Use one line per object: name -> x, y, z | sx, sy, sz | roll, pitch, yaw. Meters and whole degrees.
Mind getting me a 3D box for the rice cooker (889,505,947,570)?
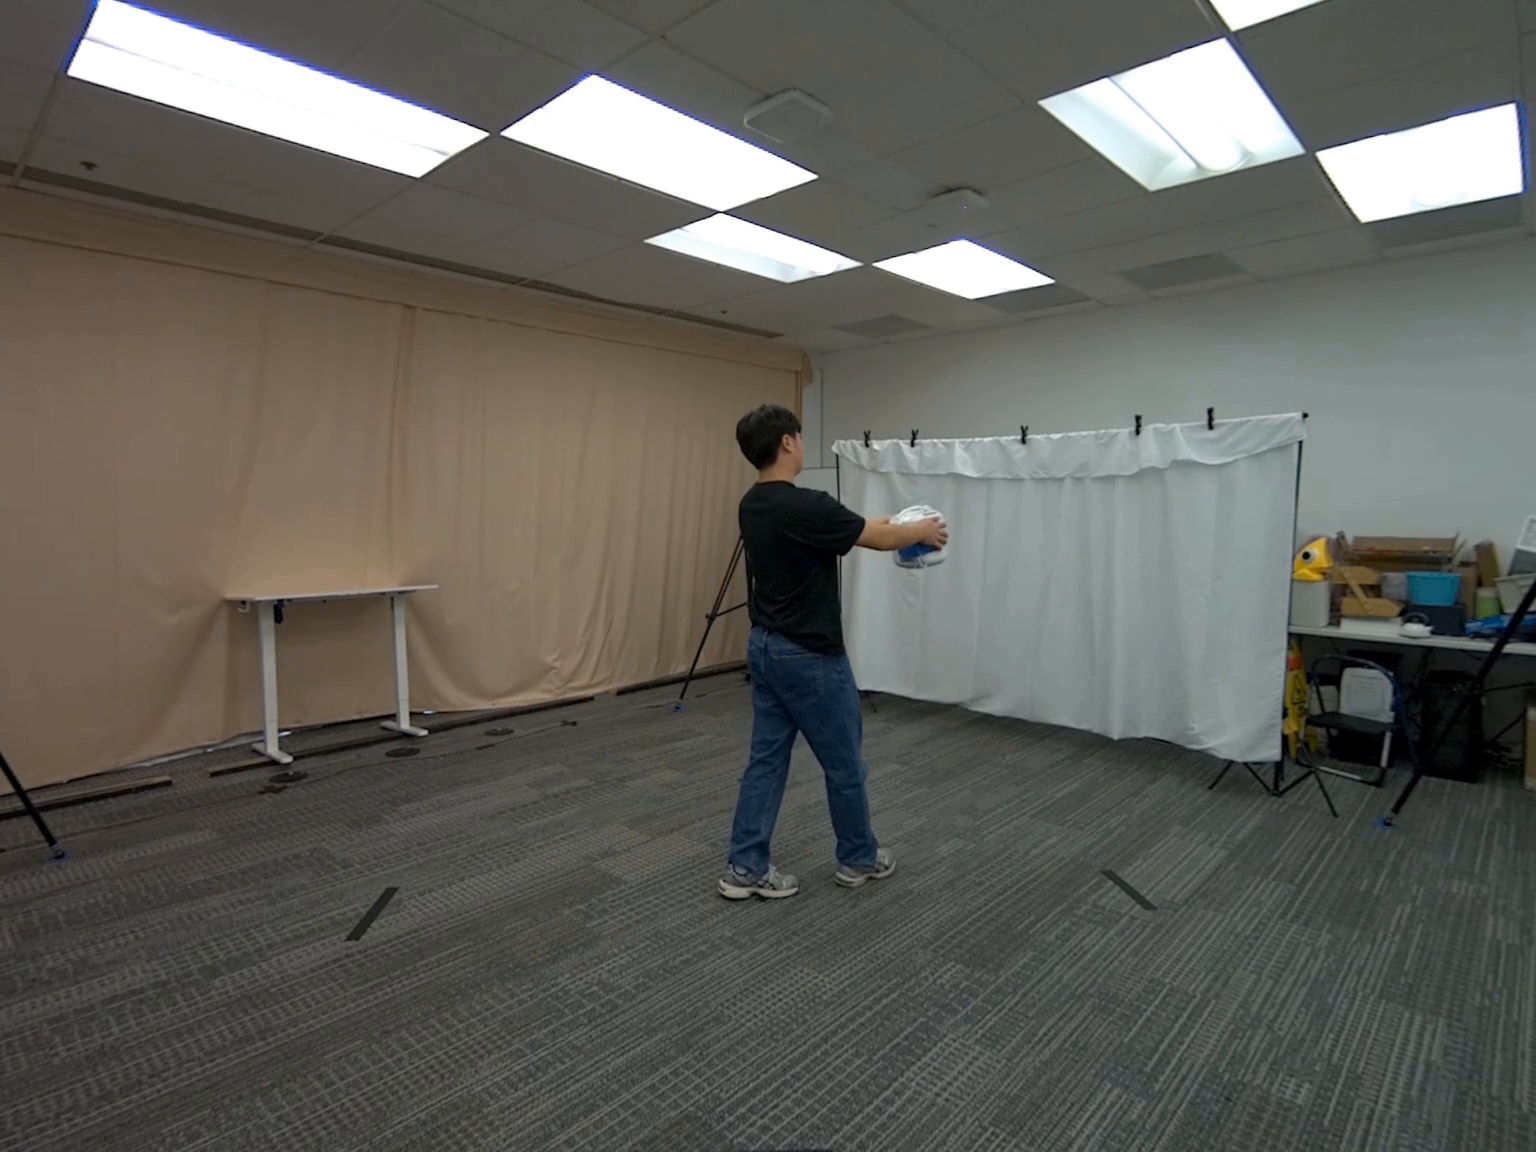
rice cooker -> 0.584, -0.158, 3.266 | 0.215, 0.231, 0.223 | -11, 8, -28
